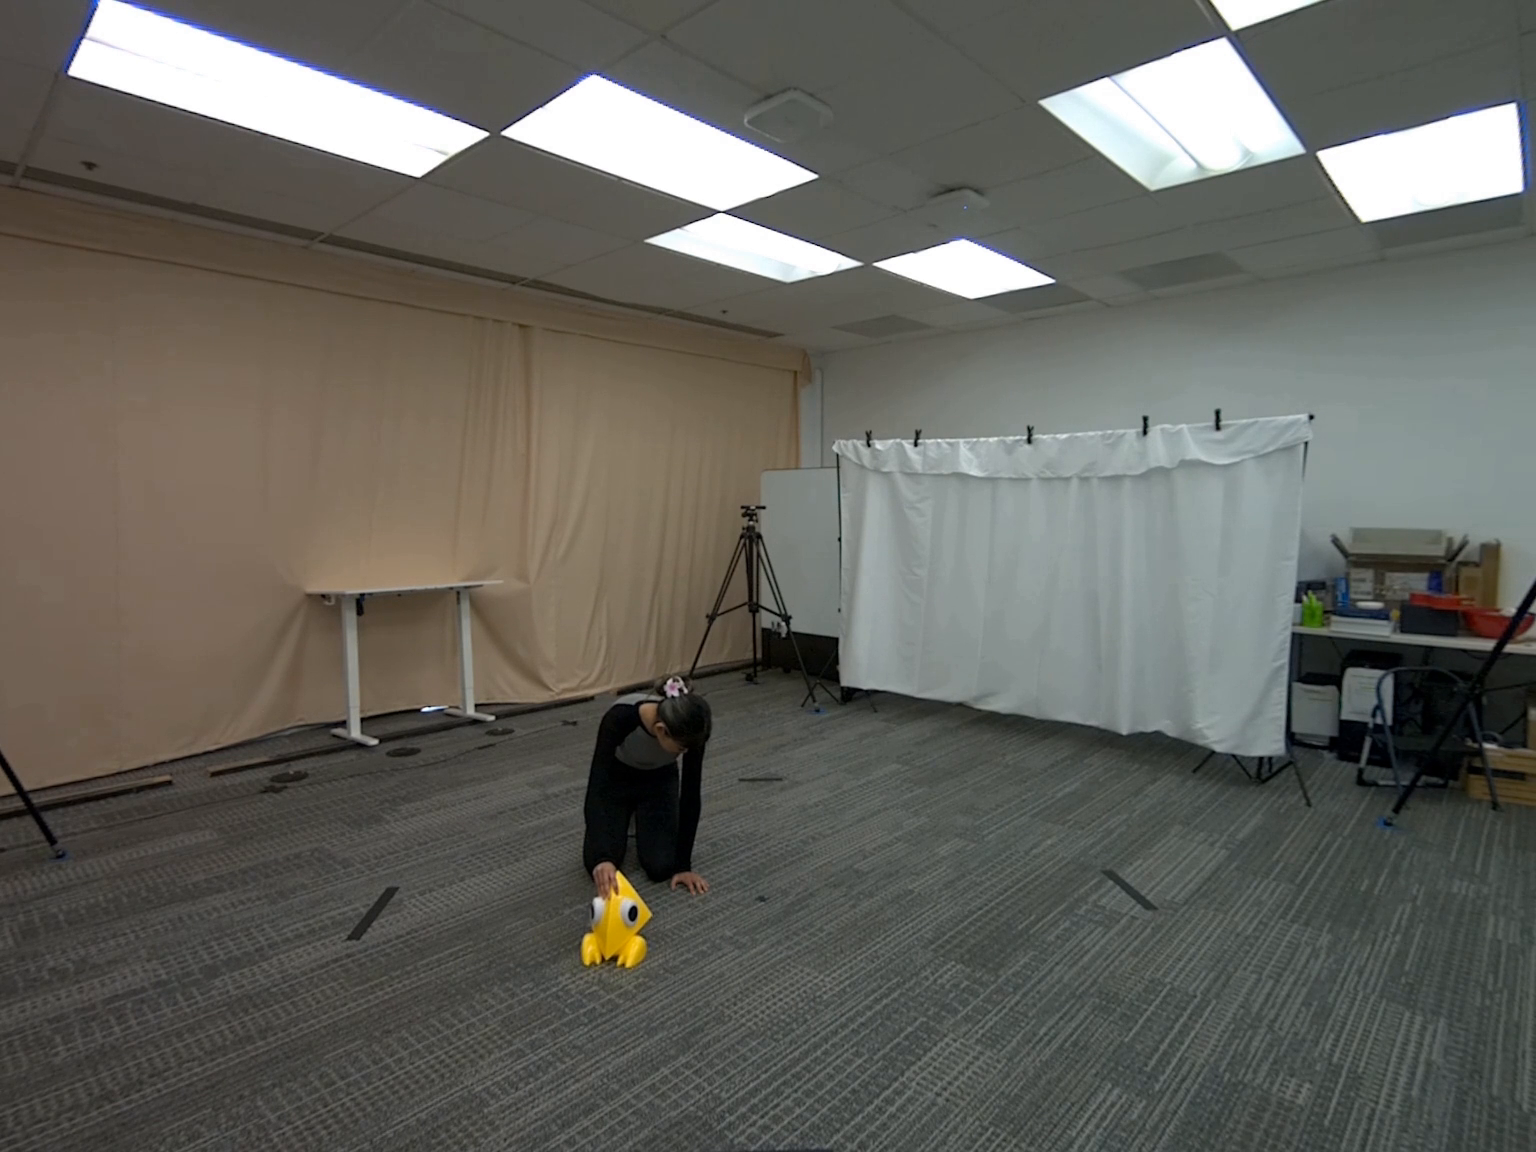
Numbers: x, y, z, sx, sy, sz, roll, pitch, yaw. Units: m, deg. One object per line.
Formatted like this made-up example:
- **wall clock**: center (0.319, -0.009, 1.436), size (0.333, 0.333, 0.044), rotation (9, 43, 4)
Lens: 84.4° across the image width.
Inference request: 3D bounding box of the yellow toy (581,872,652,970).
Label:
- **yellow toy**: center (-0.479, 1.057, 2.631), size (0.206, 0.230, 0.192), rotation (1, 3, 5)
